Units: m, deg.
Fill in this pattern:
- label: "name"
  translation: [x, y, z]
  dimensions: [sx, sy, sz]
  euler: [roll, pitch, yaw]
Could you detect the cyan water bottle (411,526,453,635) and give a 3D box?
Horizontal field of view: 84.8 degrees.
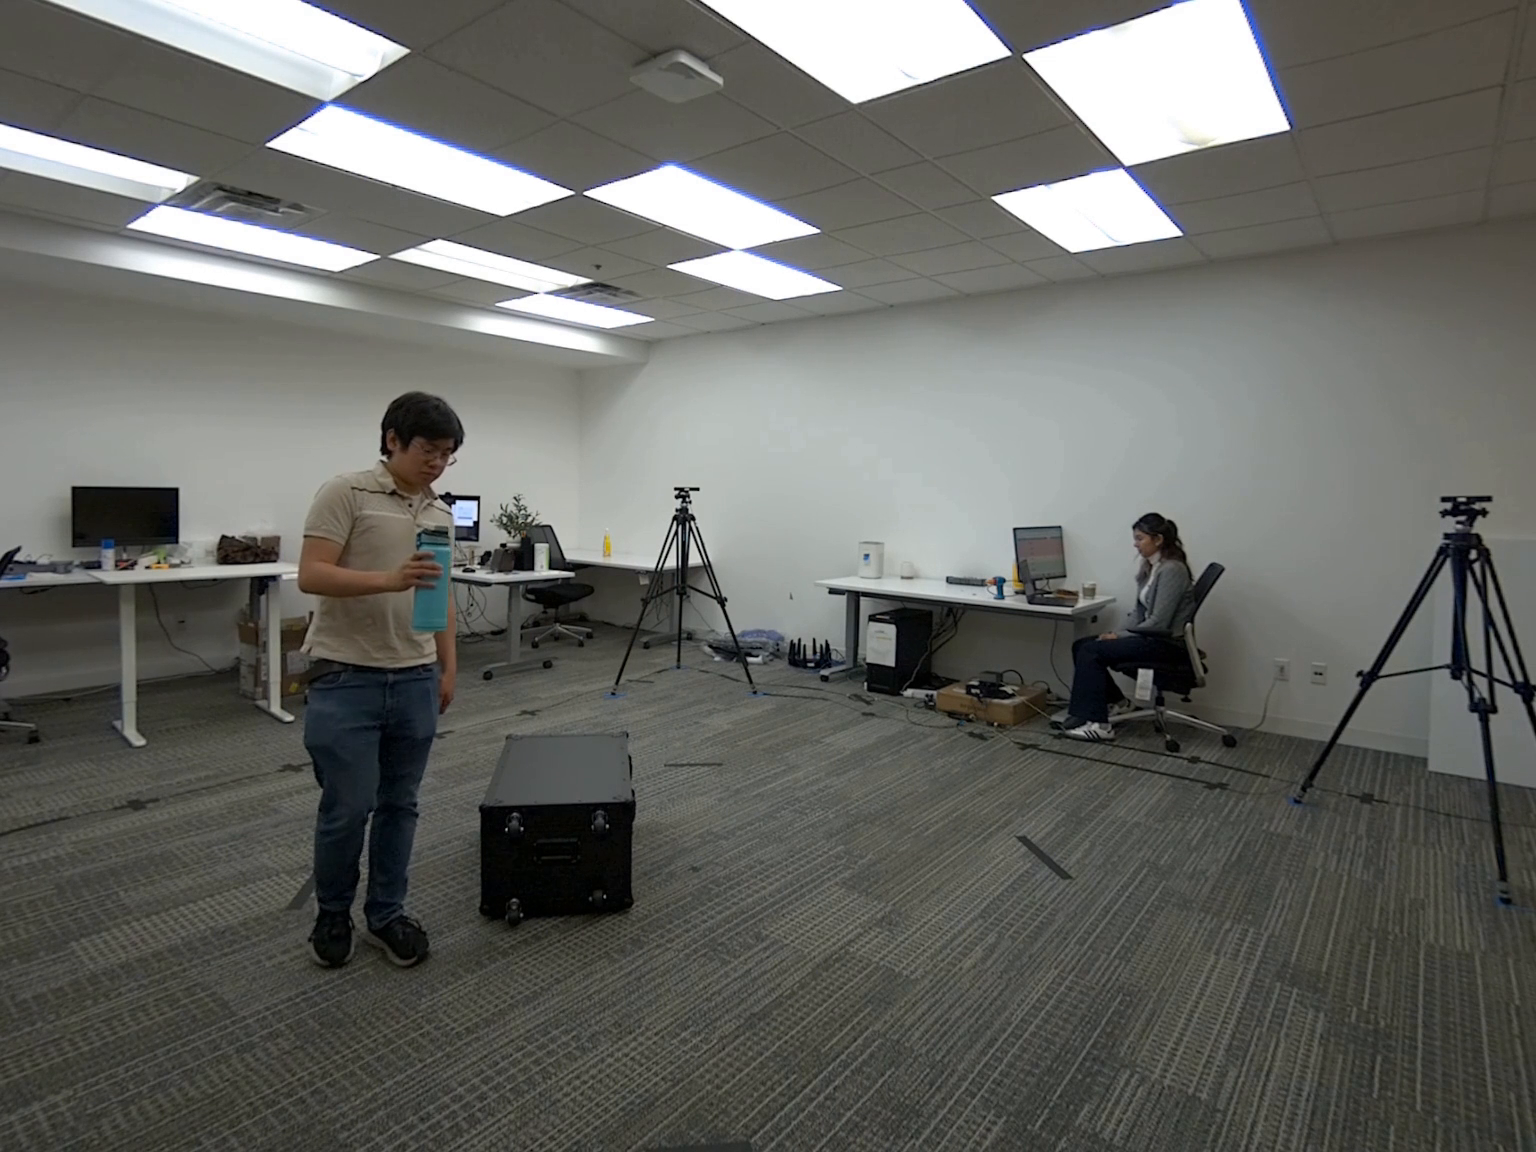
- label: "cyan water bottle"
  translation: [-0.928, 0.003, 2.299]
  dimensions: [0.092, 0.283, 0.092]
  euler: [1, 0, -2]
